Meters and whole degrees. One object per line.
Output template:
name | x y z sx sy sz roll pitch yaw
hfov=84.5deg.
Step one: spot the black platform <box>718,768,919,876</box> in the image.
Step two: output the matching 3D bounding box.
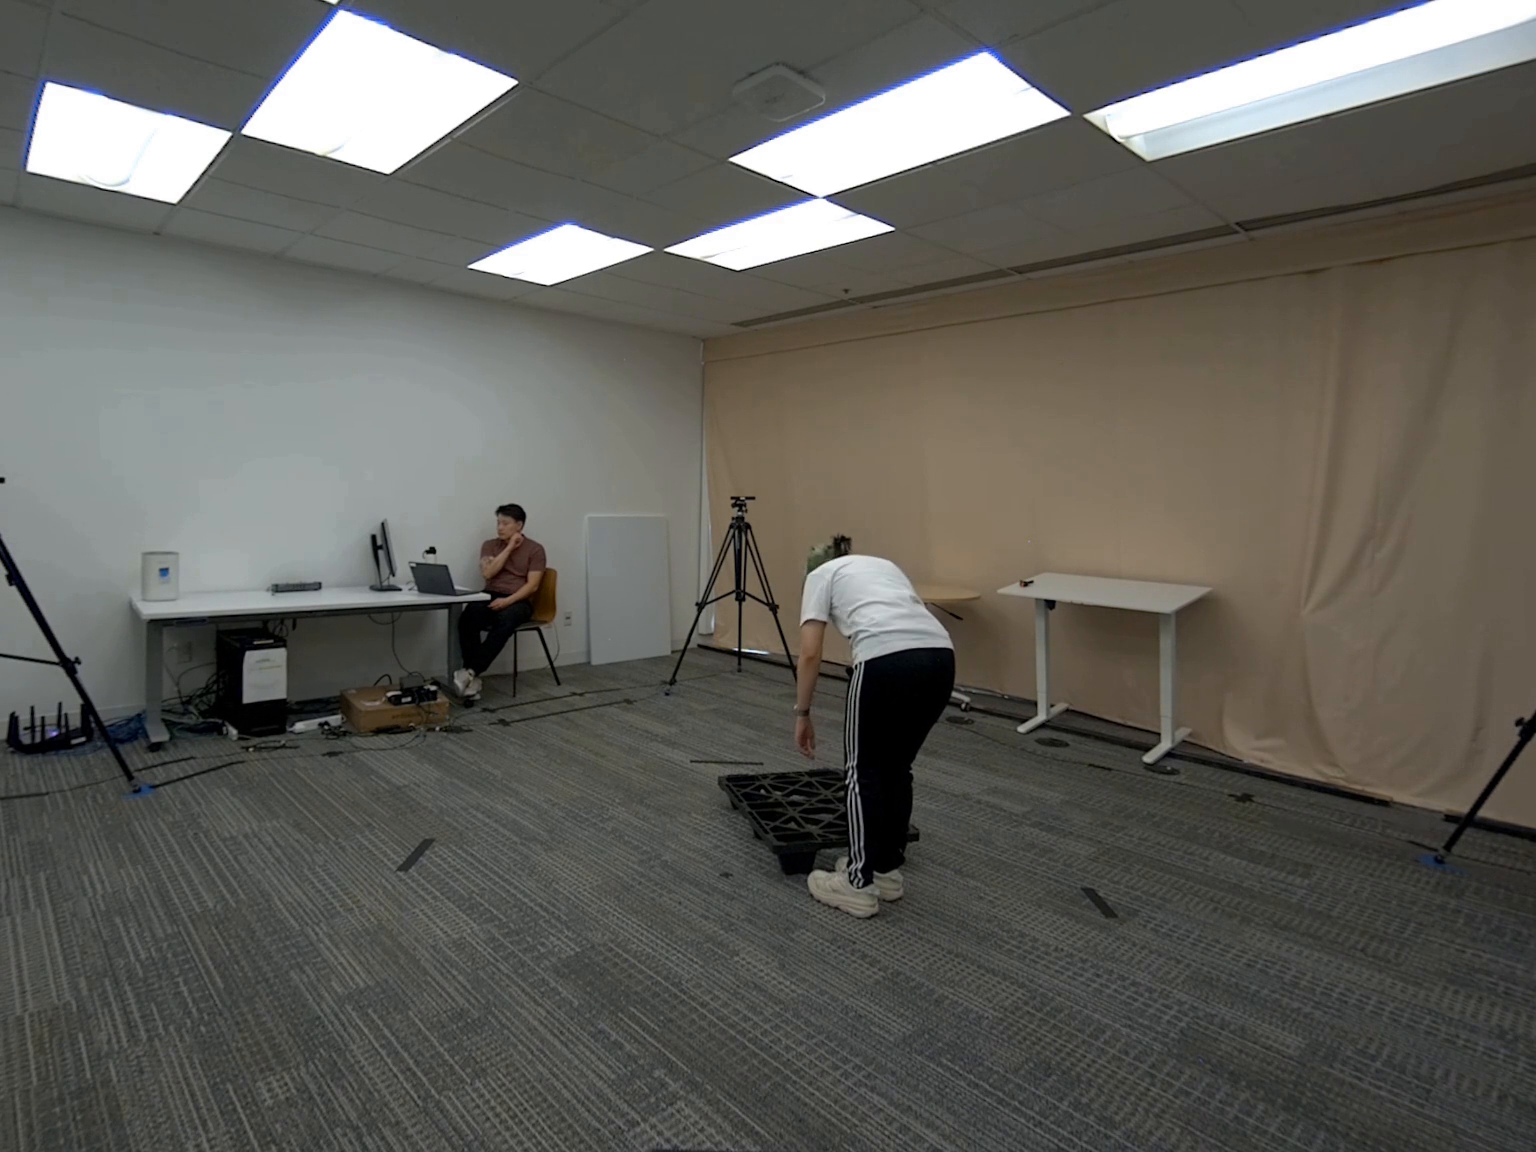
black platform | 0.168 1.008 3.524 0.597 0.143 0.818 1 5 -17
